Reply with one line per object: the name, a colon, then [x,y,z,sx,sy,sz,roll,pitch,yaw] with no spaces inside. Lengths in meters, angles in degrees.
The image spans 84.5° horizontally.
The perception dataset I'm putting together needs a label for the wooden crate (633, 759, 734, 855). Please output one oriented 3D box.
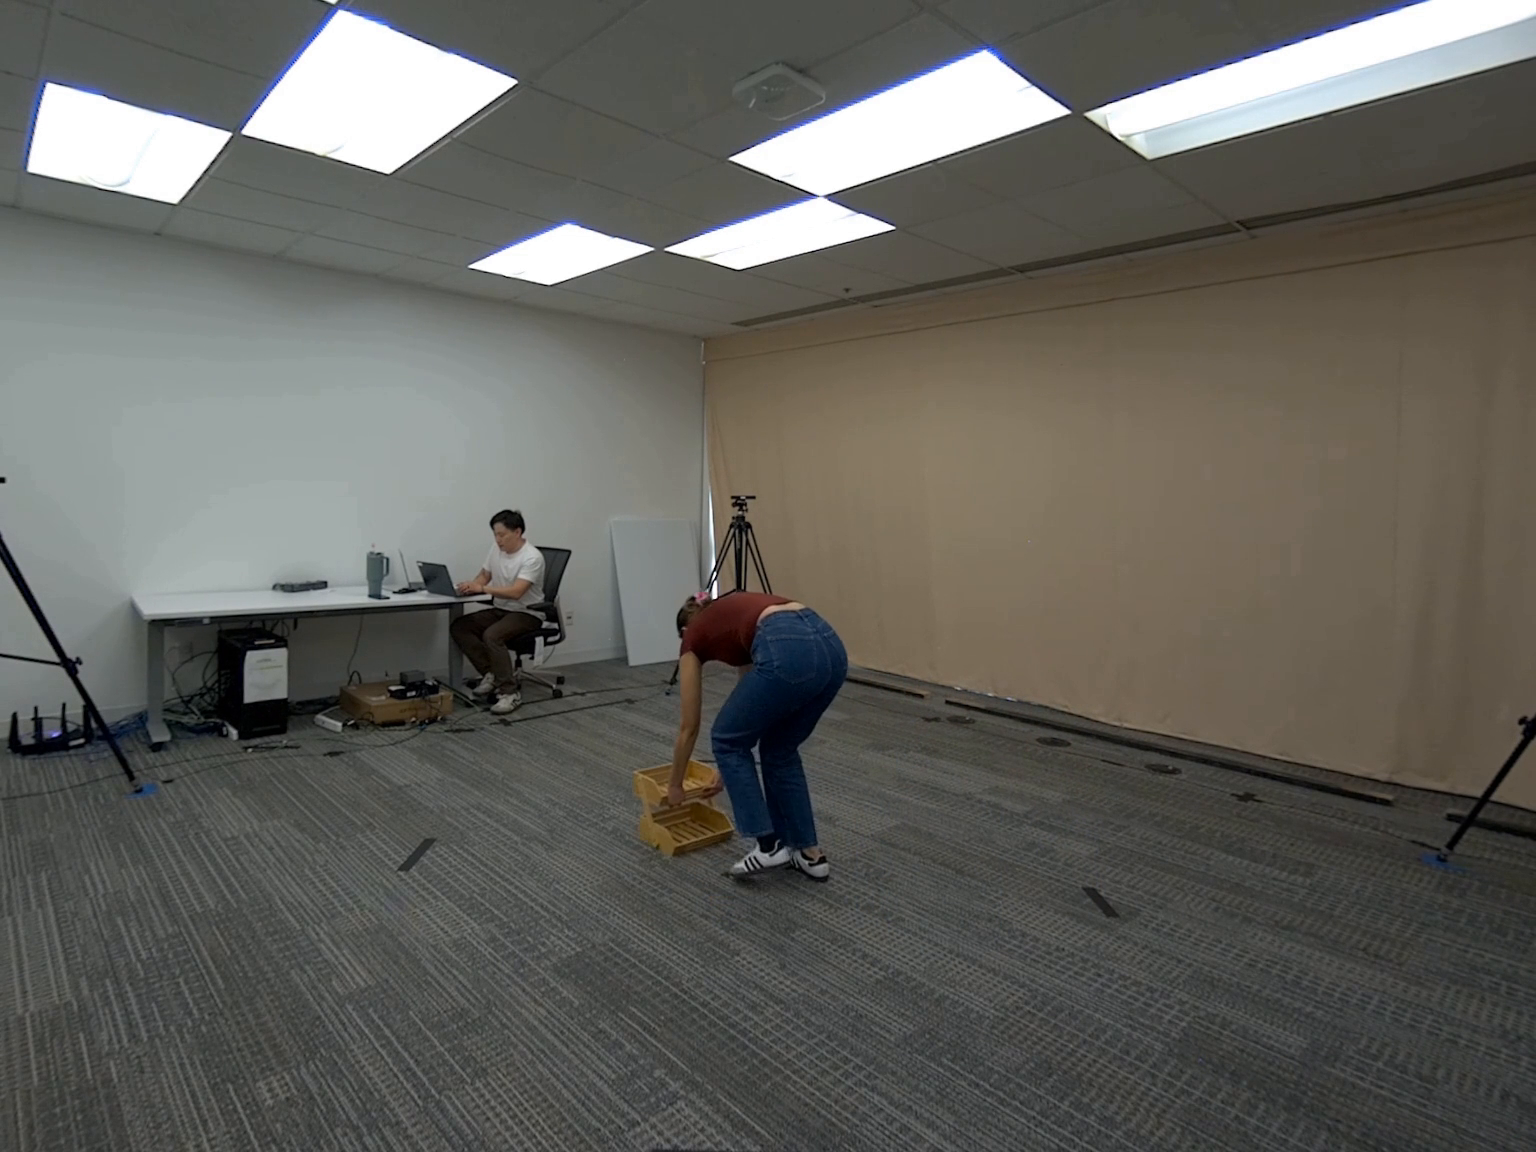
wooden crate: [-0.351,0.934,3.435,0.317,0.273,0.310,-2,5,-41]
